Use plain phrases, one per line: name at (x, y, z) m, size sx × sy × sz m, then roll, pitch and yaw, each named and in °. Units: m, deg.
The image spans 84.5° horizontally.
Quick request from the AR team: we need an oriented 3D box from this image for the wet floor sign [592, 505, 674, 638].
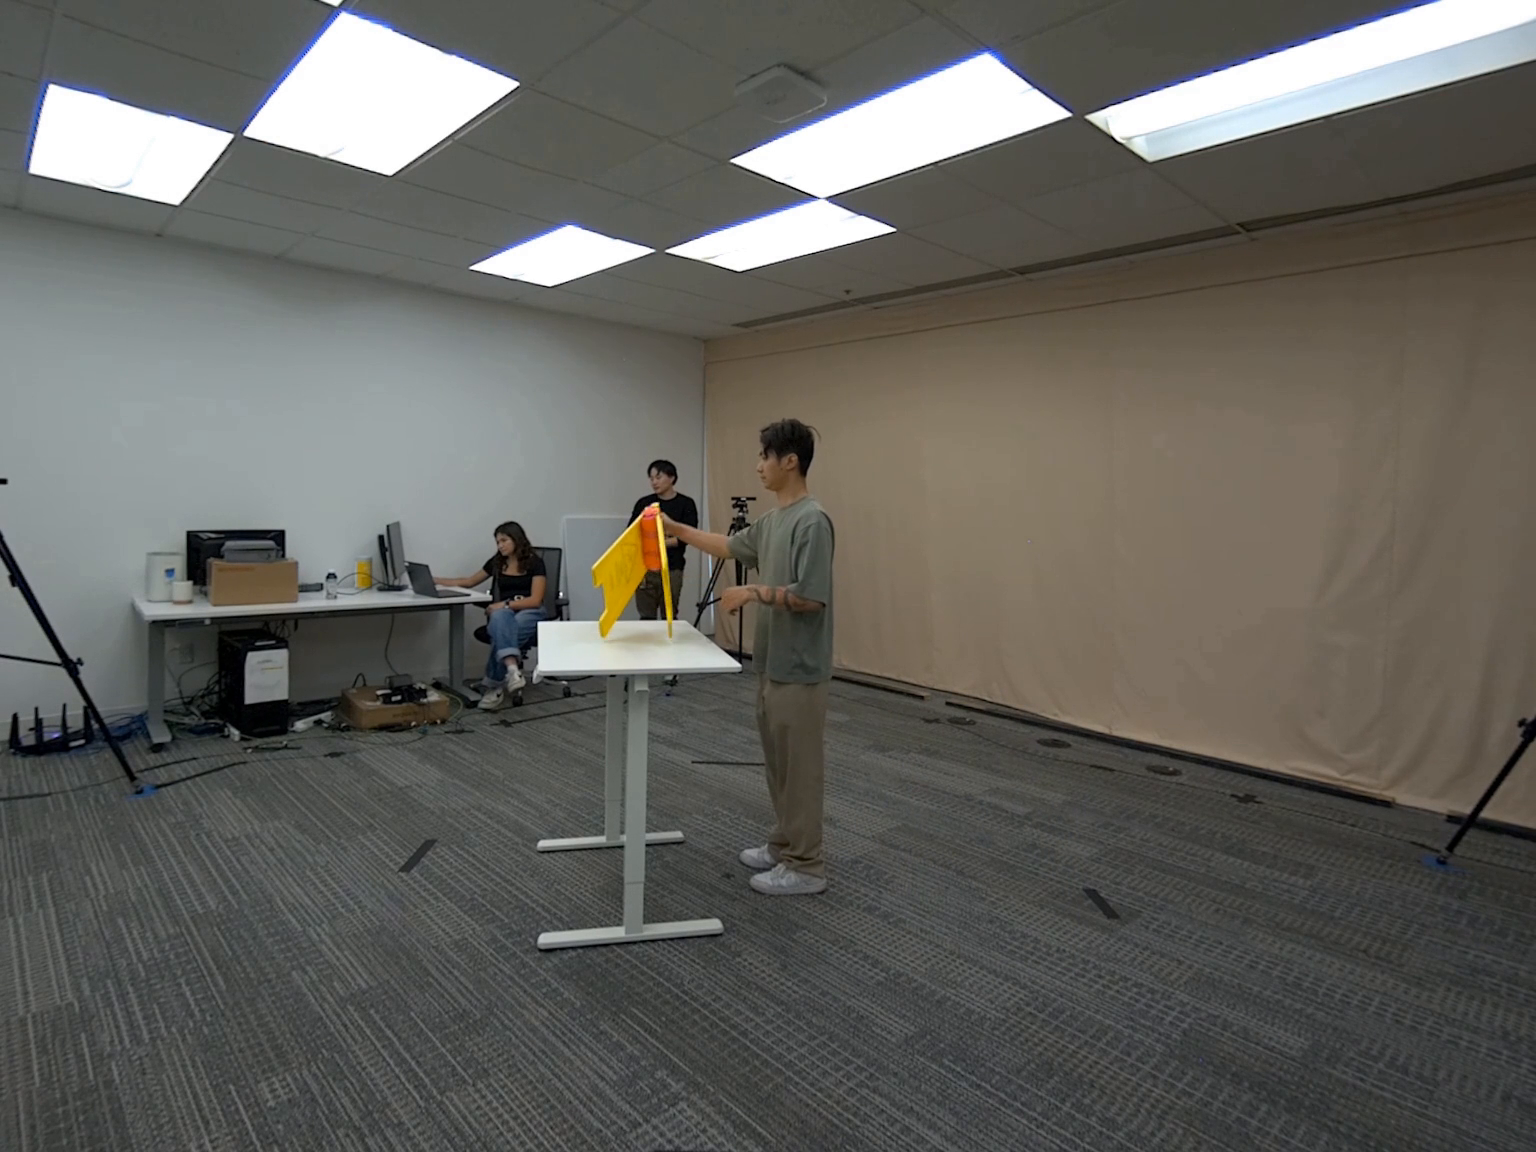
wet floor sign at (-0.454, -0.057, 3.156) m, size 0.290 × 0.277 × 0.657 m, roll -2°, pitch 28°, yaw 2°
